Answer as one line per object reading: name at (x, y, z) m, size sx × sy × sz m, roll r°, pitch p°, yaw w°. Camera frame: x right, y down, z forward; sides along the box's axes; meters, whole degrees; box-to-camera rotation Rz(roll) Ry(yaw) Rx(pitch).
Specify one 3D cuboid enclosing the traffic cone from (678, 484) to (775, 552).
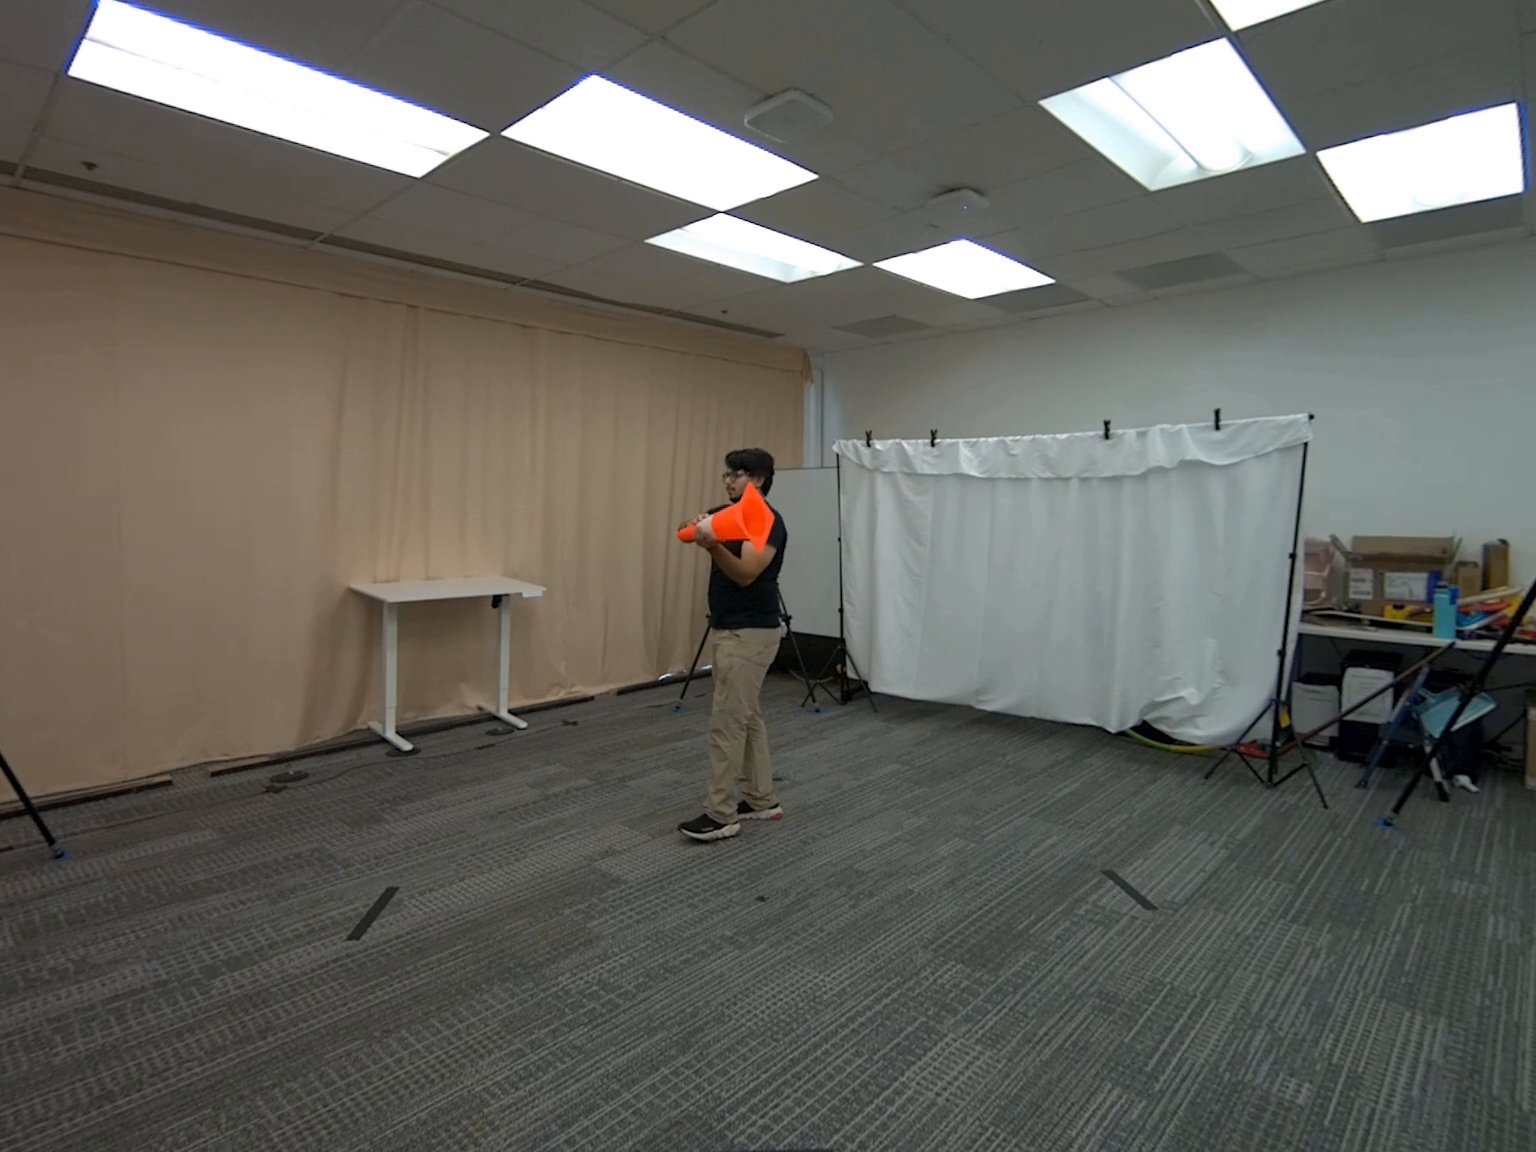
traffic cone at (-0.211, -0.181, 3.250) m, size 0.394 × 0.204 × 0.198 m, roll -10°, pitch -45°, yaw 35°
